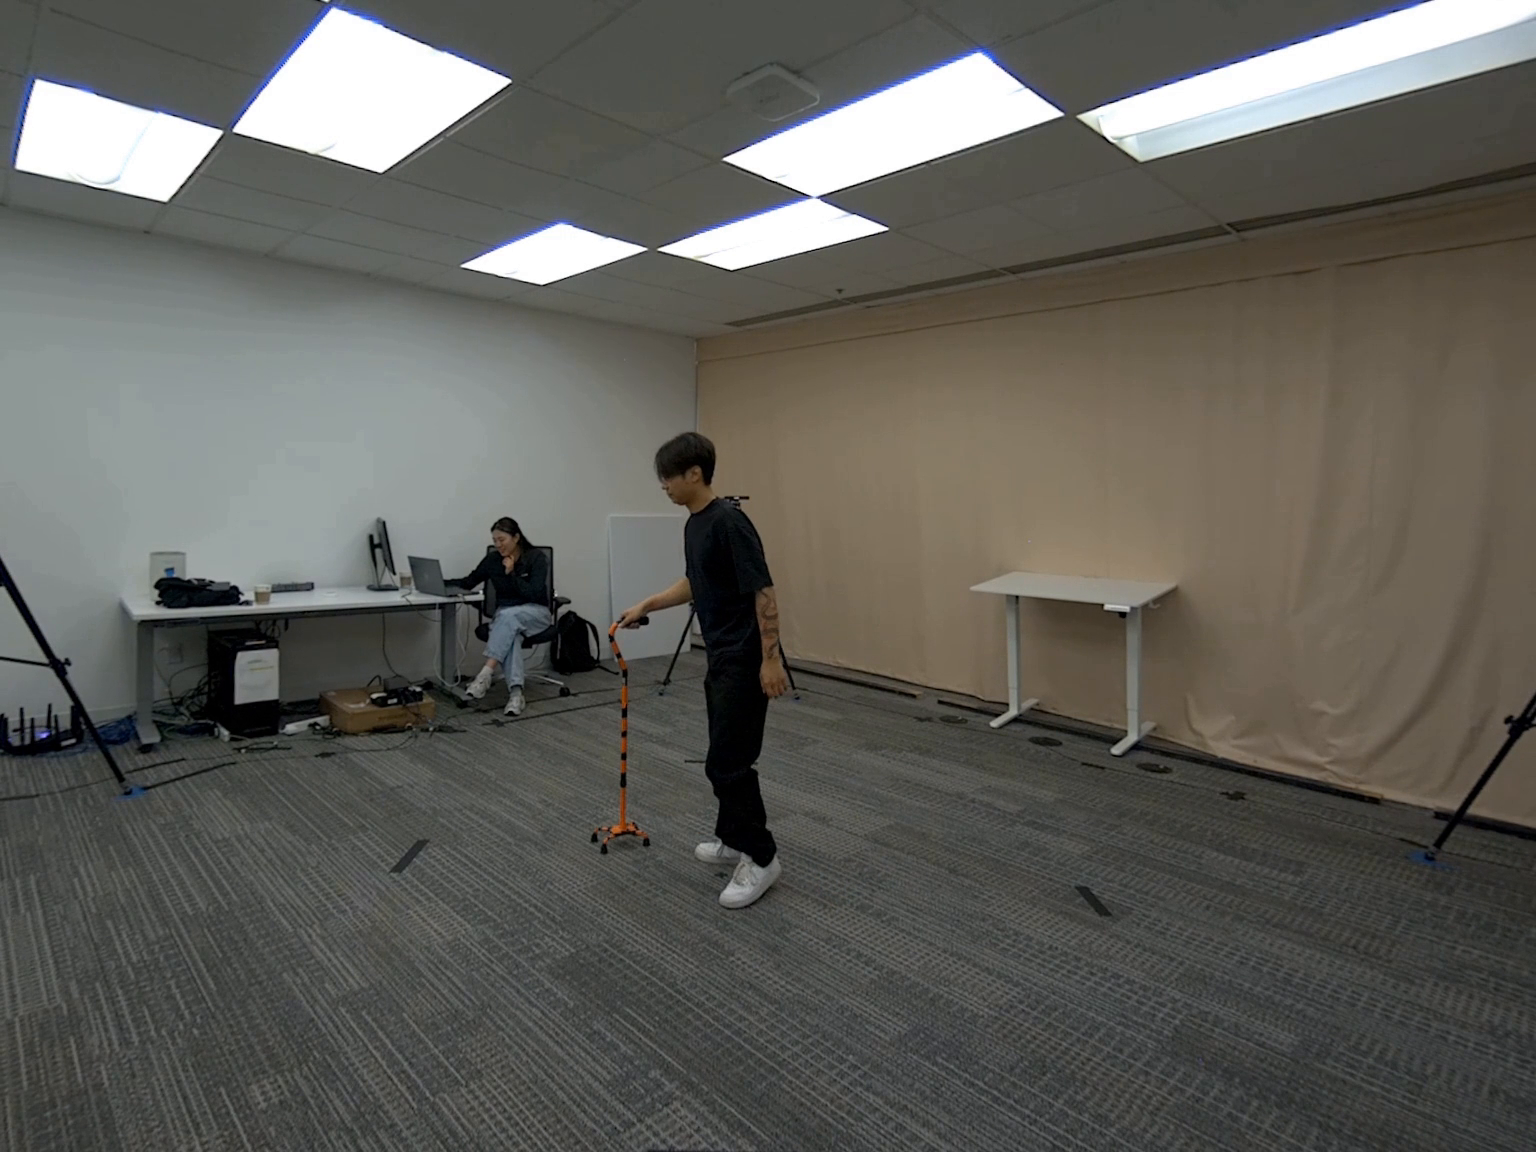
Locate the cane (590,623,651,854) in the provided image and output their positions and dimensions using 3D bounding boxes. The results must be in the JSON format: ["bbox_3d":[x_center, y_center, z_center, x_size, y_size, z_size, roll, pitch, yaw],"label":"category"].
[{"bbox_3d":[-0.588,0.620,3.341,0.202,0.906,0.155,-1,4,-28],"label":"cane"}]
